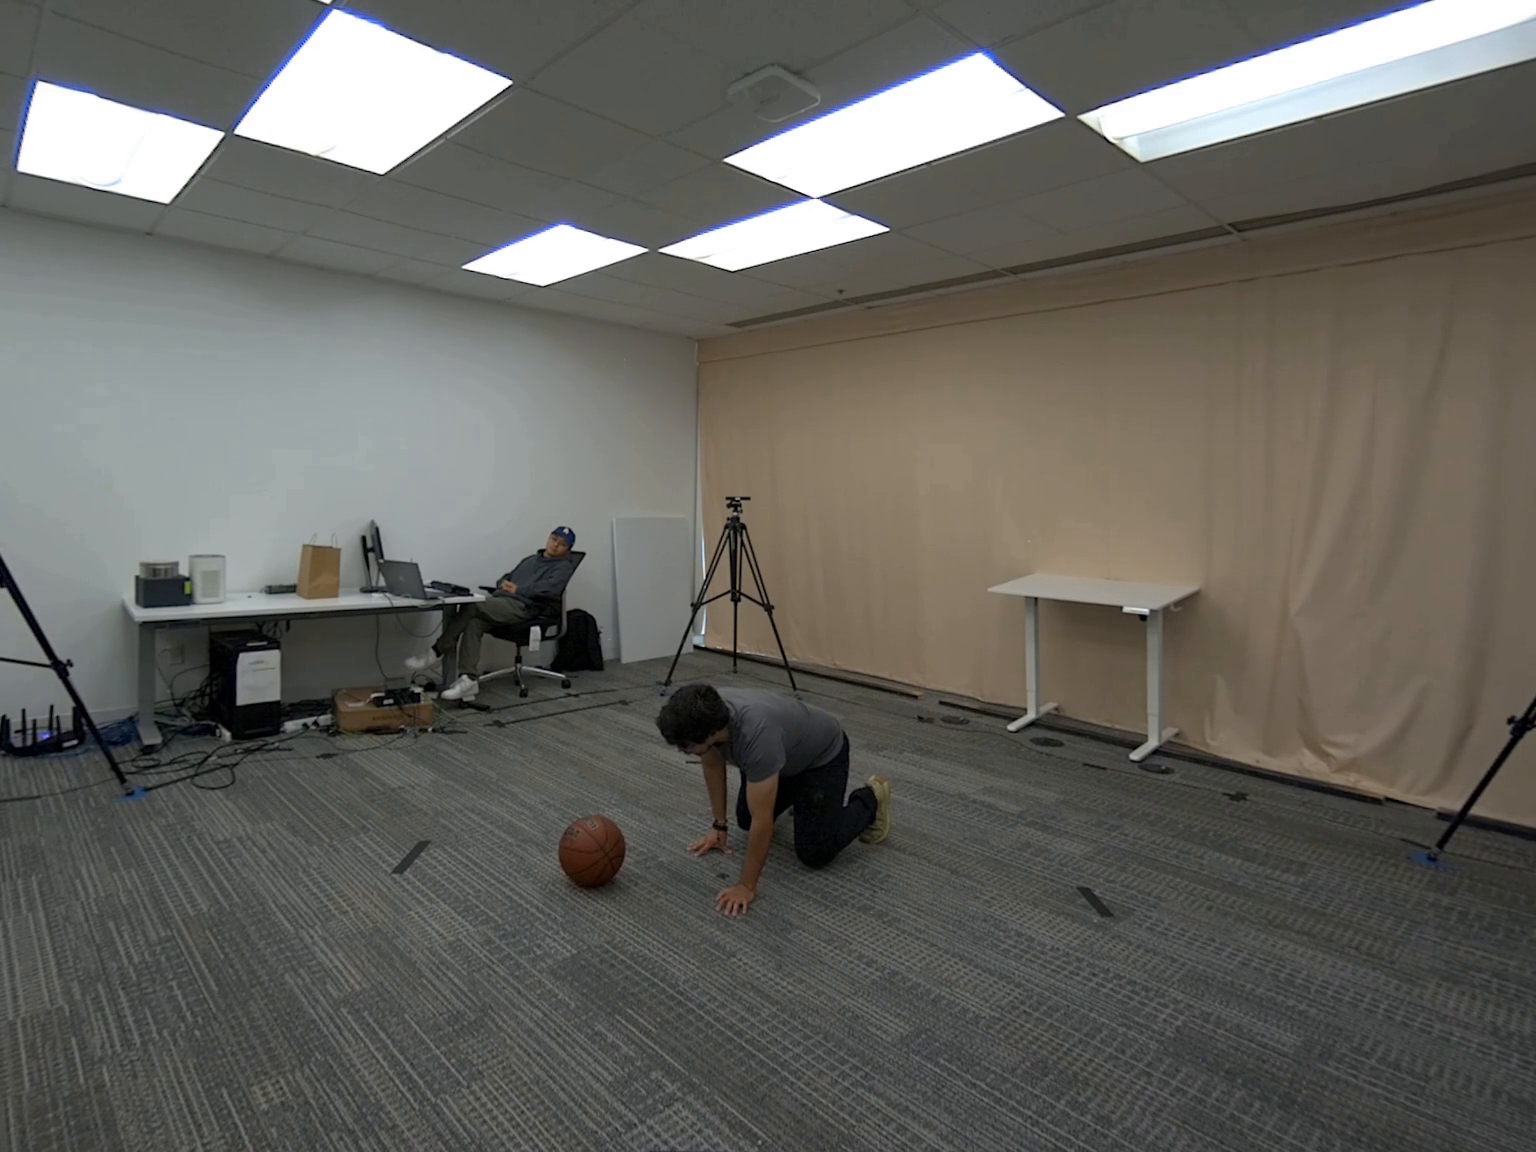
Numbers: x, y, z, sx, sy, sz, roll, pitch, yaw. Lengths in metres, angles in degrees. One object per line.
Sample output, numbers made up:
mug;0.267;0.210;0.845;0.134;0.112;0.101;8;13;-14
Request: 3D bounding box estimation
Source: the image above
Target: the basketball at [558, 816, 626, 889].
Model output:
basketball;-0.643;0.984;3.019;0.236;0.235;0.237;1;4;-1
